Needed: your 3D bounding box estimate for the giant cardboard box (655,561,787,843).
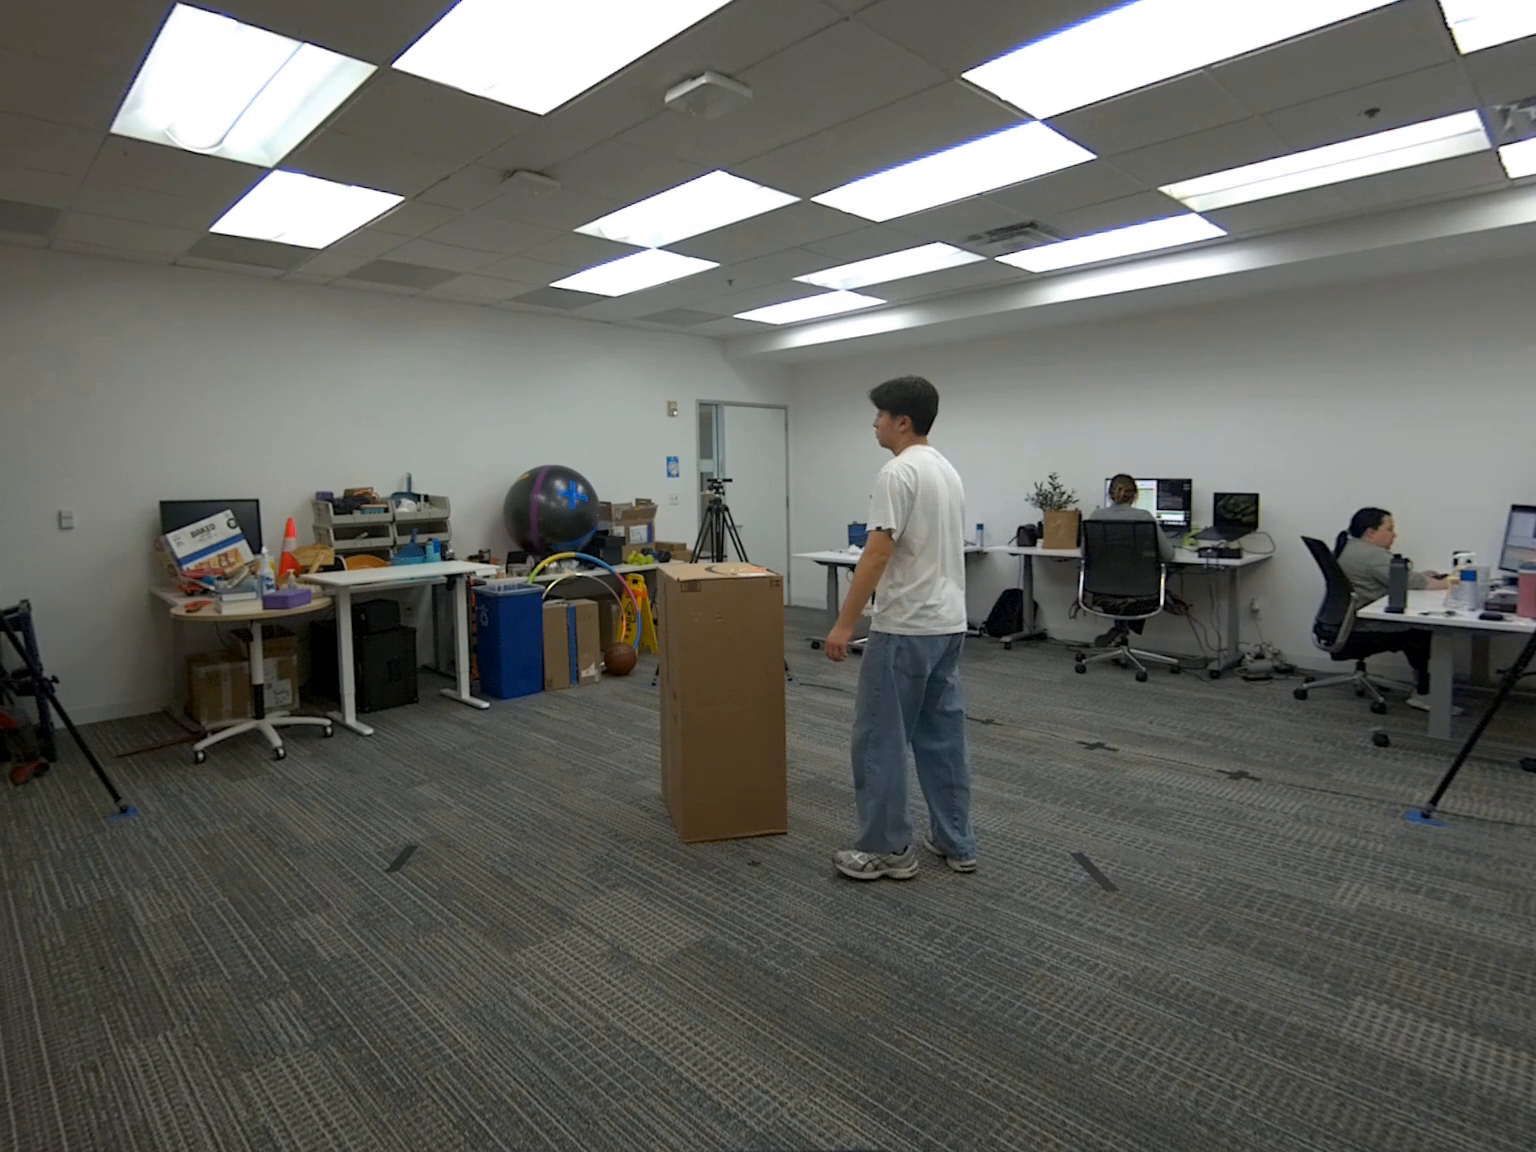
[{"bbox_3d":[-0.209,0.485,3.572,0.421,1.022,0.587,-2,4,-15],"label":"giant cardboard box"}]
